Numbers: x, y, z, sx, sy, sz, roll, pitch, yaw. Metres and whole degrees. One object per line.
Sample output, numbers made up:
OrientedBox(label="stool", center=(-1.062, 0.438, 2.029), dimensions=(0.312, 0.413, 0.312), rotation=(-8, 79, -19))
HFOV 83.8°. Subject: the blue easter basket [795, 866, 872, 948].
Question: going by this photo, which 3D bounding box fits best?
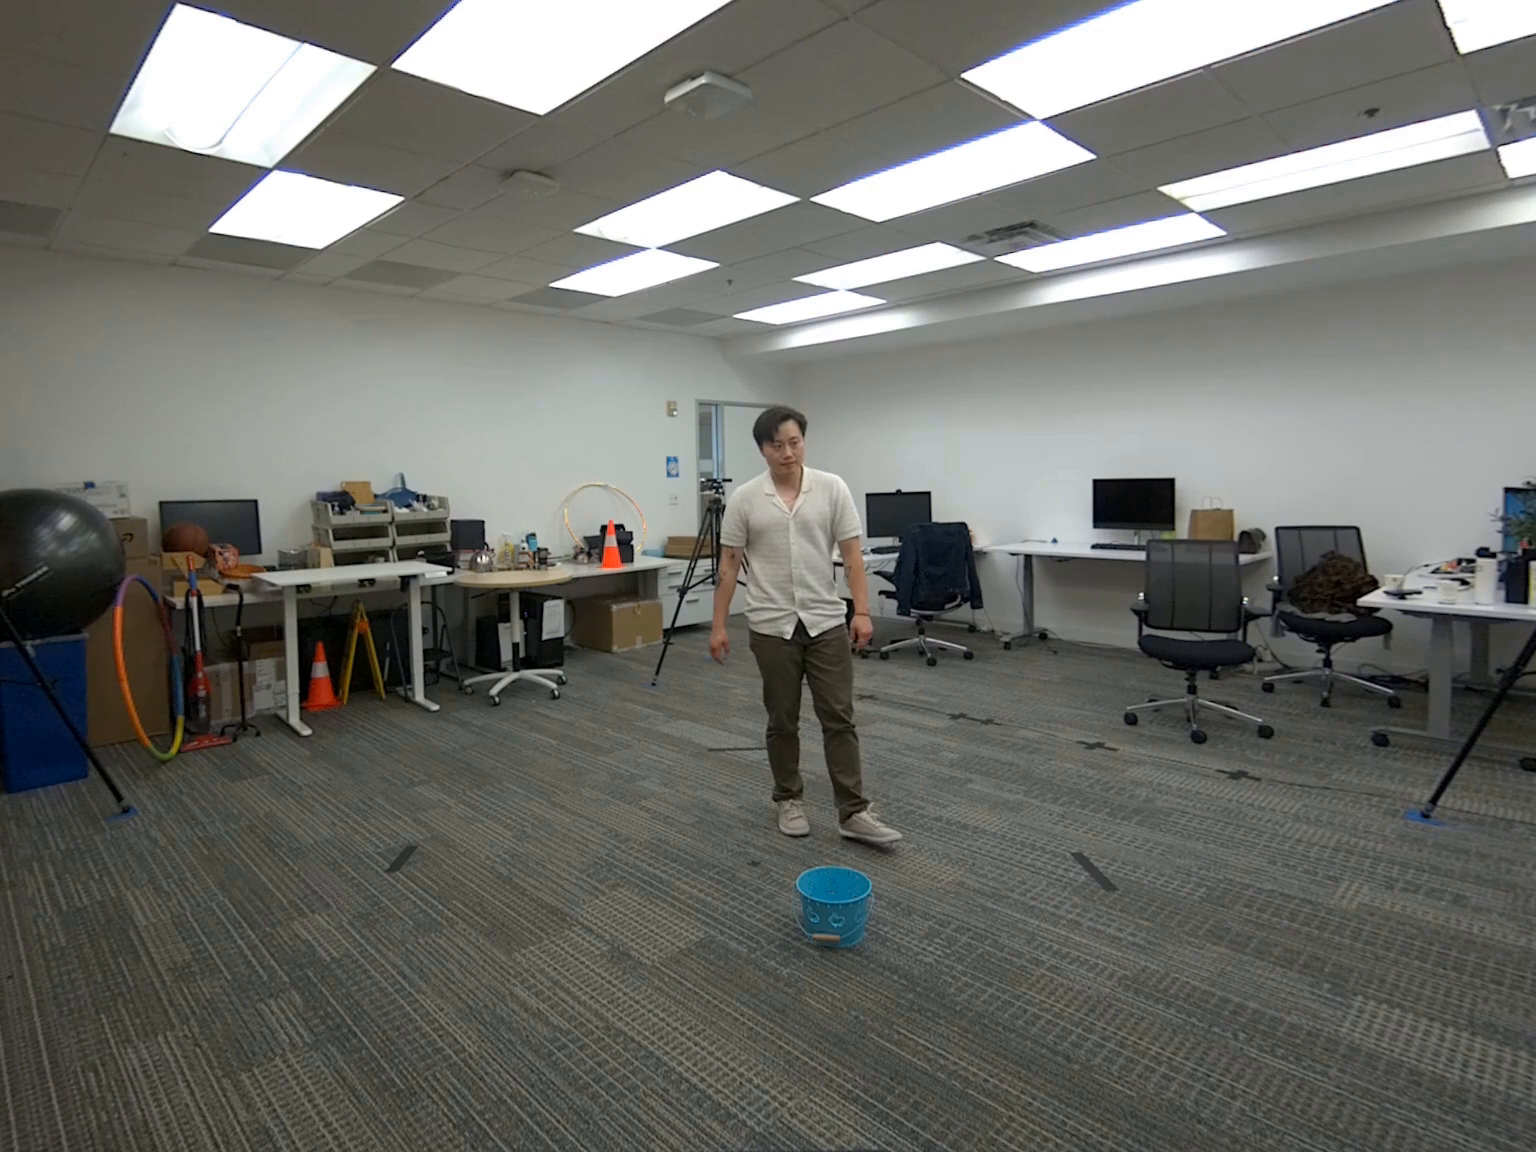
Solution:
OrientedBox(label="blue easter basket", center=(0.197, 1.019, 2.626), dimensions=(0.243, 0.155, 0.245), rotation=(-1, 5, -2))
